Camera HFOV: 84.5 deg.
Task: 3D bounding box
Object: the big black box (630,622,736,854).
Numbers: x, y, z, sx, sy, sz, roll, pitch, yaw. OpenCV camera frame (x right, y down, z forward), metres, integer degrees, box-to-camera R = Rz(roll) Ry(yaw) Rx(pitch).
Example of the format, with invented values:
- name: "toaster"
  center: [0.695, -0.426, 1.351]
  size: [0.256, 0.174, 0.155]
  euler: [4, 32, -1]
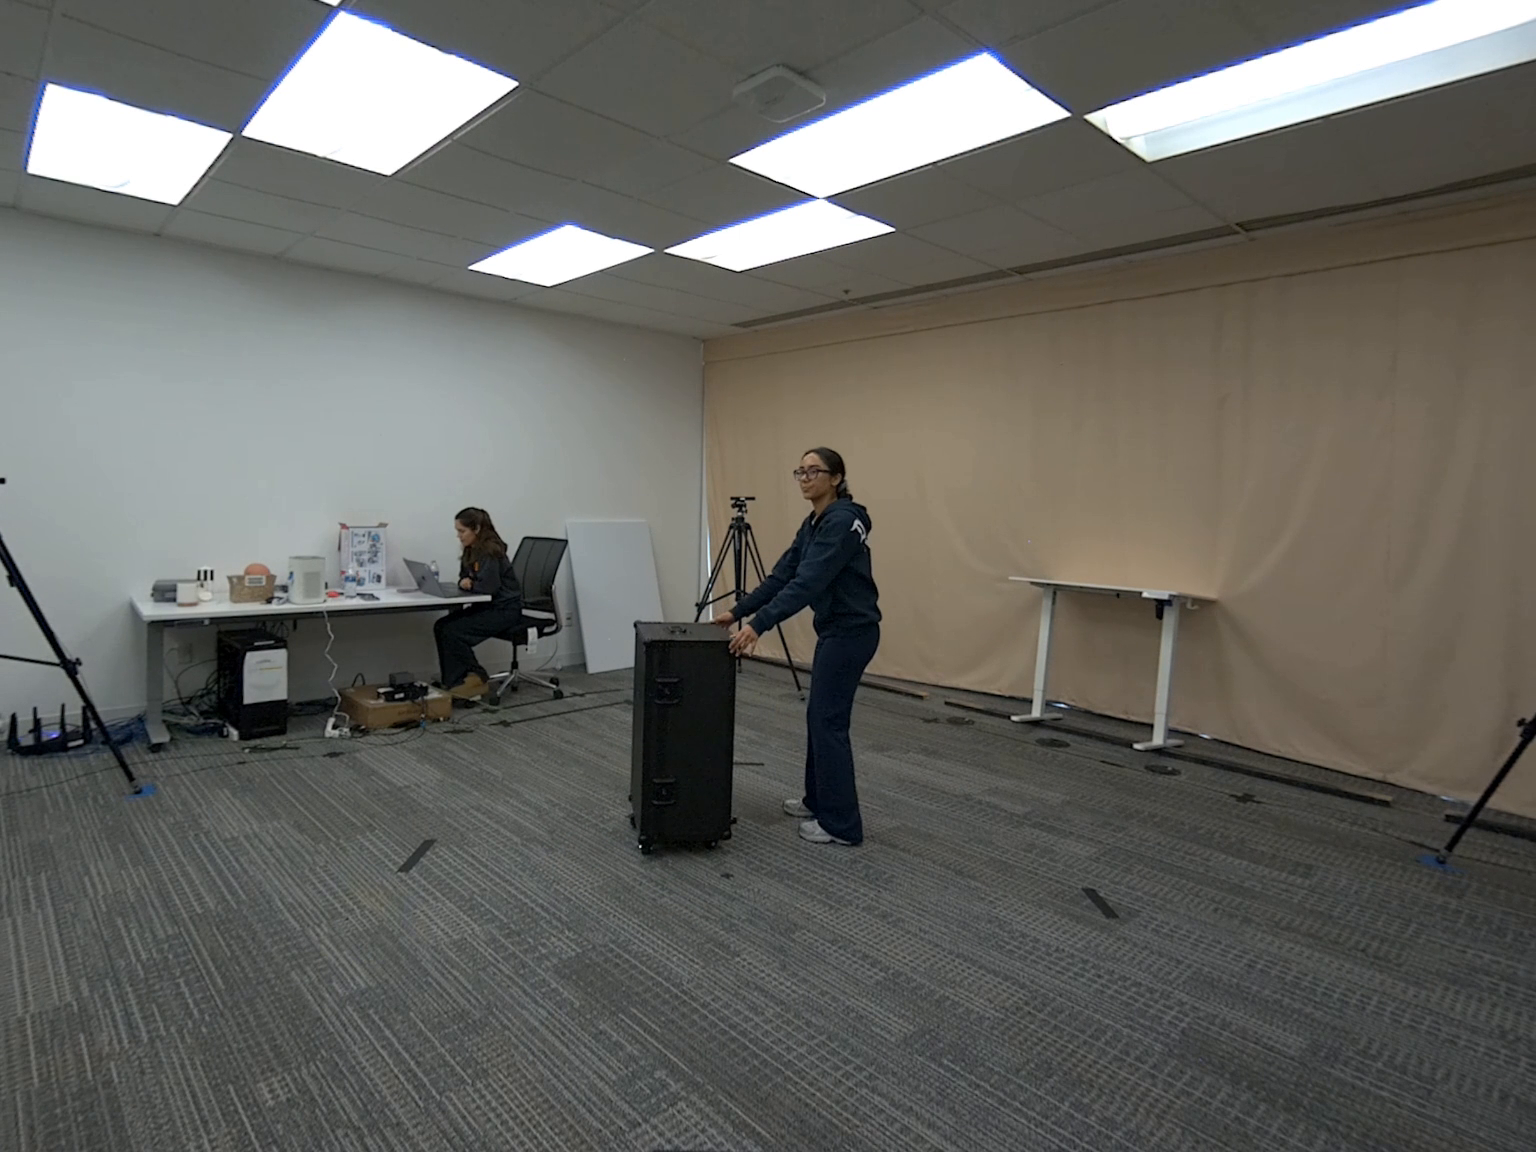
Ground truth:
- name: "big black box"
  center: [-0.363, 0.650, 3.452]
  size: [0.392, 0.860, 0.528]
  euler: [2, 2, -14]
